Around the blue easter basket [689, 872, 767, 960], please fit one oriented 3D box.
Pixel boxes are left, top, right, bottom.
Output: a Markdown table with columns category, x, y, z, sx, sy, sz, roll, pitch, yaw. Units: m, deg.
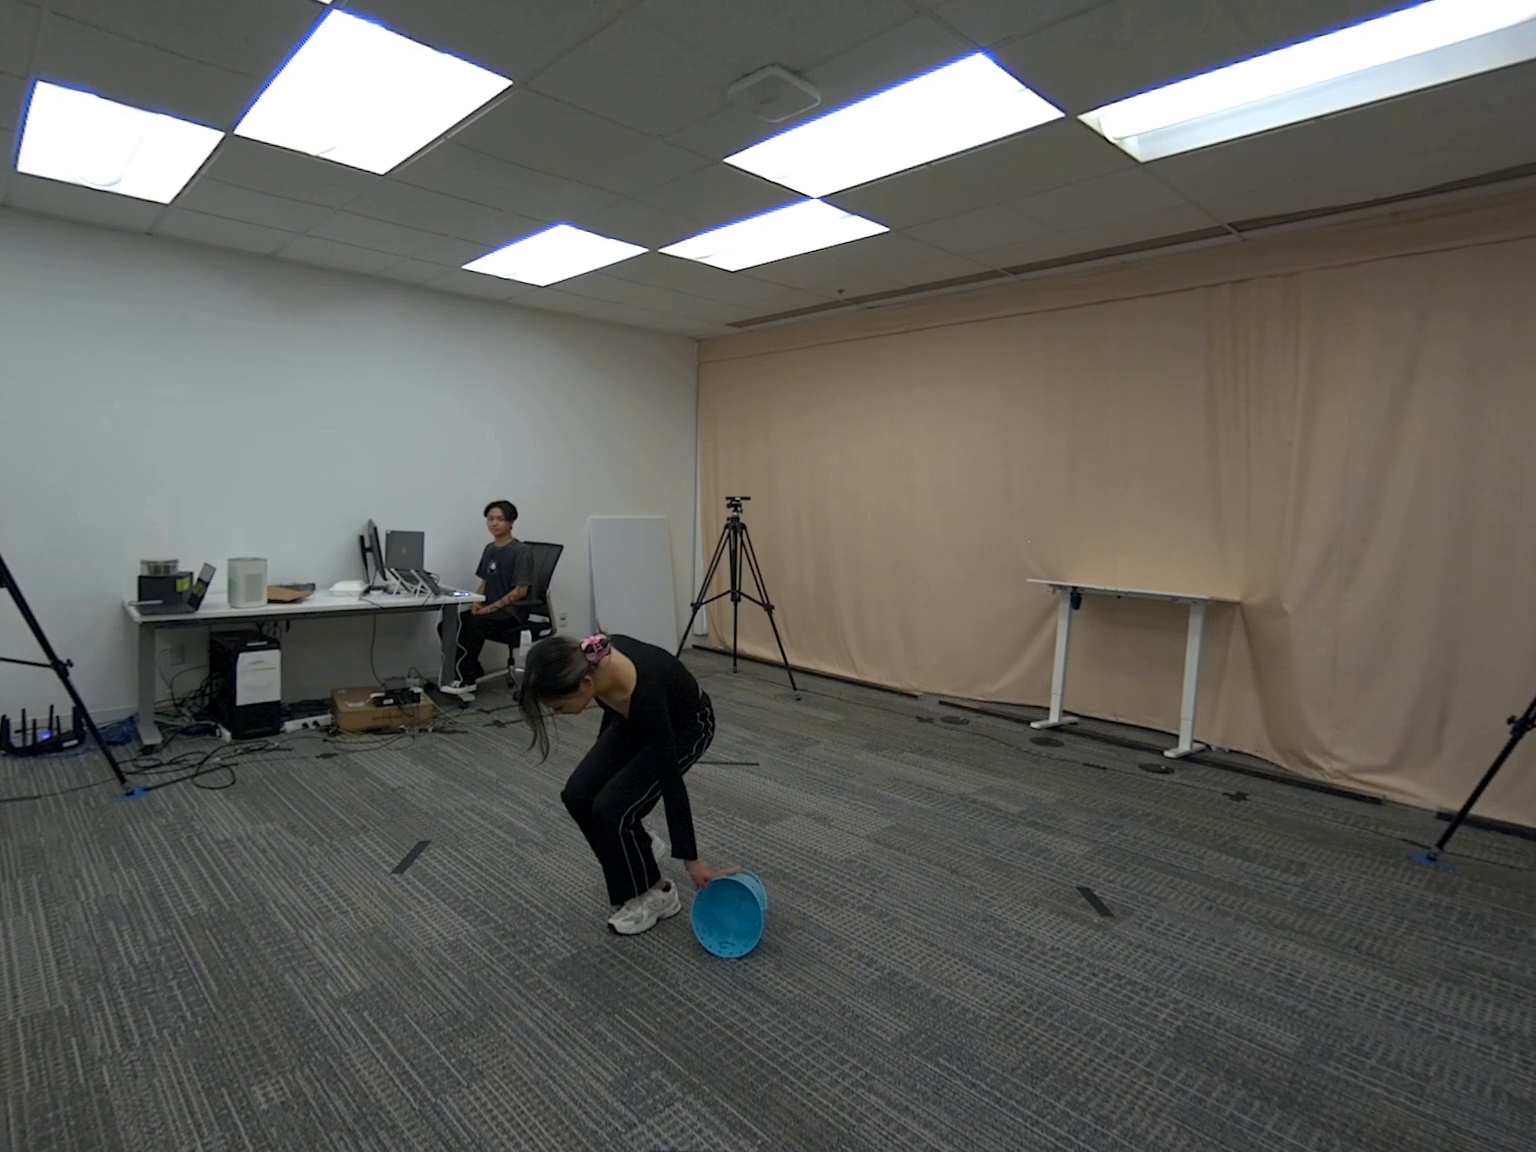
| category | x | y | z | sx | sy | sz | roll | pitch | yaw |
| --- | --- | --- | --- | --- | --- | --- | --- | --- | --- |
| blue easter basket | -0.115 | 1.046 | 2.621 | 0.247 | 0.244 | 0.153 | 3 | -3 | 17 |
